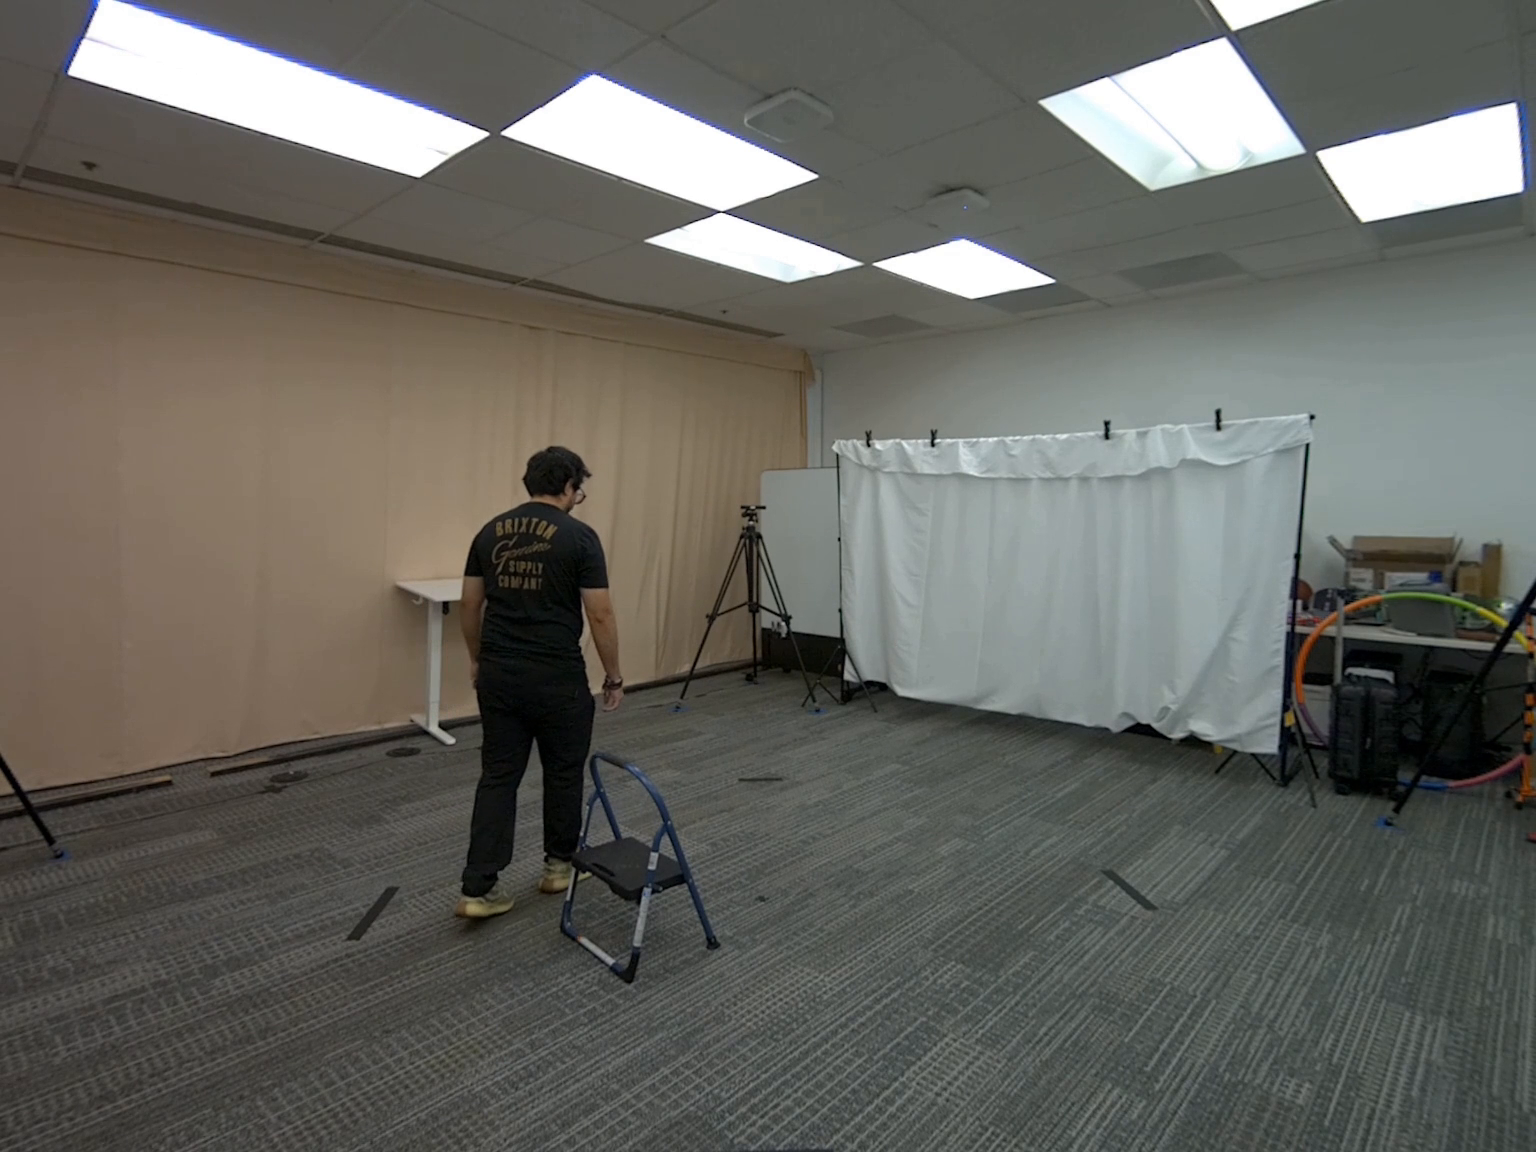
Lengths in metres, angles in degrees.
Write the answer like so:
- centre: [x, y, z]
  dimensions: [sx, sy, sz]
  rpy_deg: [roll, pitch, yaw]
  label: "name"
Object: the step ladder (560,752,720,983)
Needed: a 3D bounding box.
- centre: [-0.420, 0.869, 2.700]
  dimensions: [0.338, 0.605, 0.445]
  rpy_deg: [-3, 4, -42]
  label: "step ladder"
